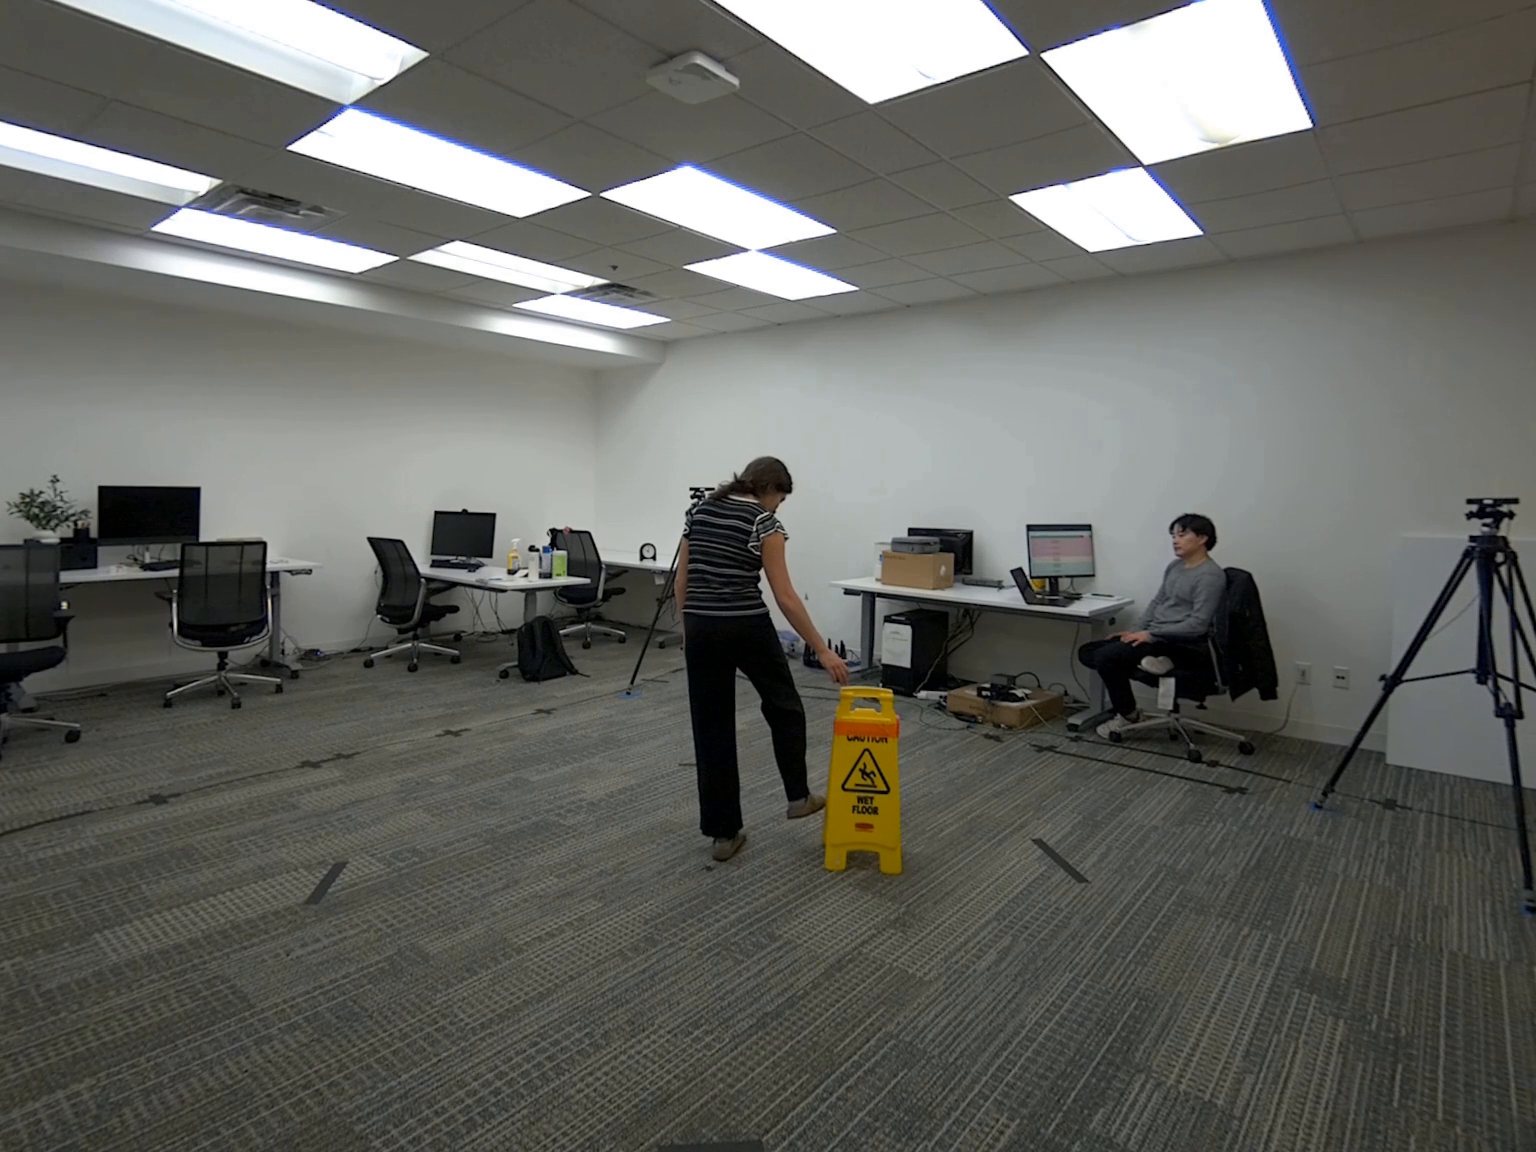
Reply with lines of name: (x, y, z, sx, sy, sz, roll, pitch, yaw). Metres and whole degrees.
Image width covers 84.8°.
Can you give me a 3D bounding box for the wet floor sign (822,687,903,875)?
wet floor sign: (0.351, 0.744, 3.213, 0.283, 0.643, 0.290, 0, 4, 1)
